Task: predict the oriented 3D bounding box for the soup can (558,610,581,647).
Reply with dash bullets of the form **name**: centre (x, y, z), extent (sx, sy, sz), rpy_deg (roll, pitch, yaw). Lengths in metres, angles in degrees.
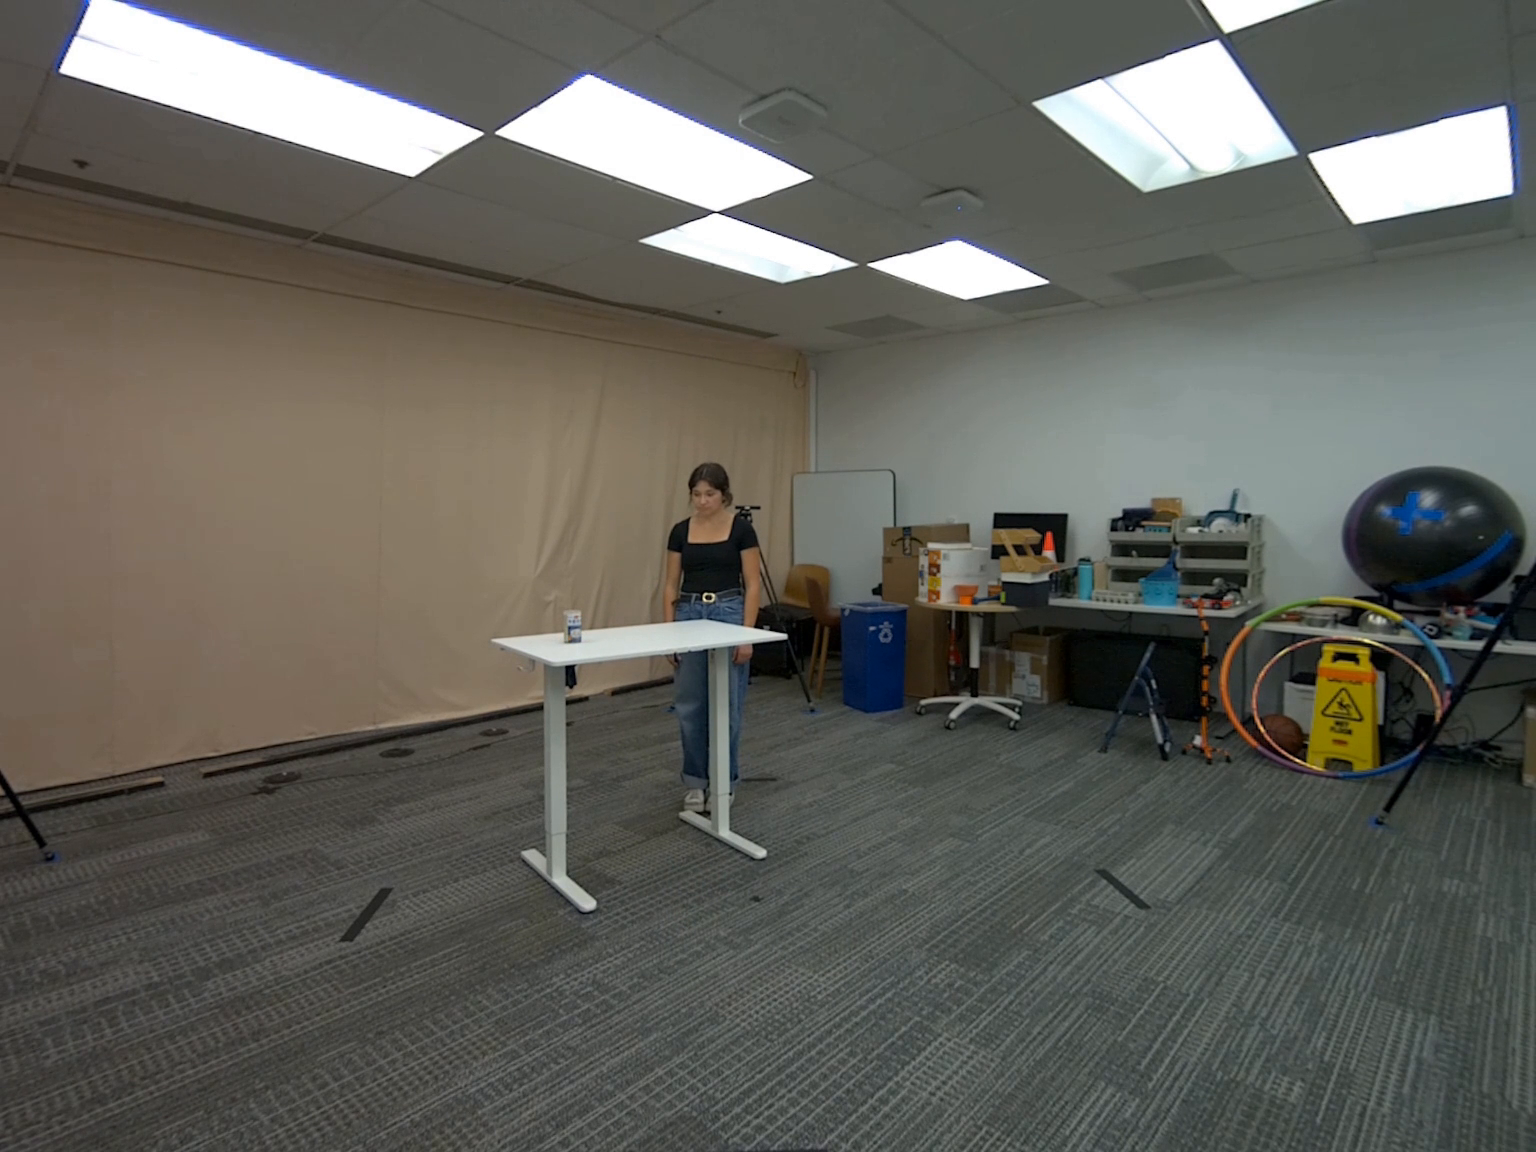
- **soup can**: centre (-0.744, 0.194, 3.169), extent (0.067, 0.121, 0.067), rpy_deg (3, 3, -2)
